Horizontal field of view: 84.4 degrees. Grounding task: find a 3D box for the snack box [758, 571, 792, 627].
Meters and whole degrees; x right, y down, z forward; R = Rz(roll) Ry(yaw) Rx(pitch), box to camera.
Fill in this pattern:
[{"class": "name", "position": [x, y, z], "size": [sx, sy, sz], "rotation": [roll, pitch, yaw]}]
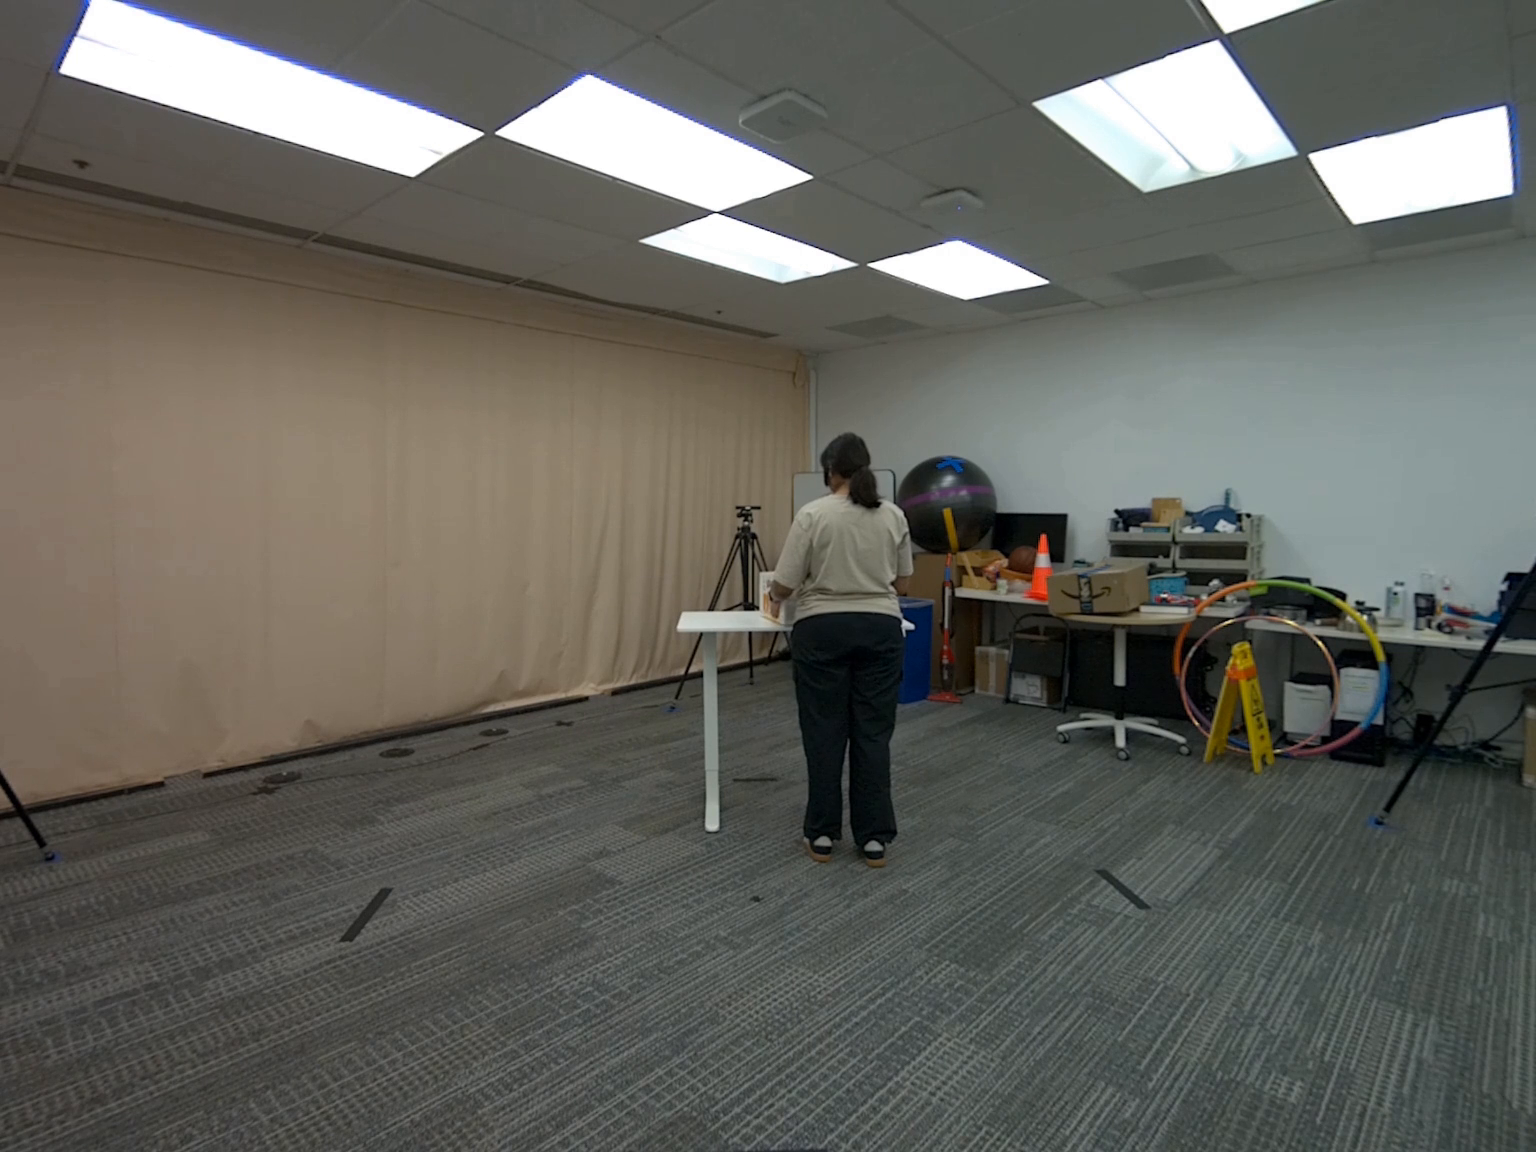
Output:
[{"class": "snack box", "position": [0.182, 0.089, 3.762], "size": [0.335, 0.205, 0.412], "rotation": [-1, 3, -14]}]
